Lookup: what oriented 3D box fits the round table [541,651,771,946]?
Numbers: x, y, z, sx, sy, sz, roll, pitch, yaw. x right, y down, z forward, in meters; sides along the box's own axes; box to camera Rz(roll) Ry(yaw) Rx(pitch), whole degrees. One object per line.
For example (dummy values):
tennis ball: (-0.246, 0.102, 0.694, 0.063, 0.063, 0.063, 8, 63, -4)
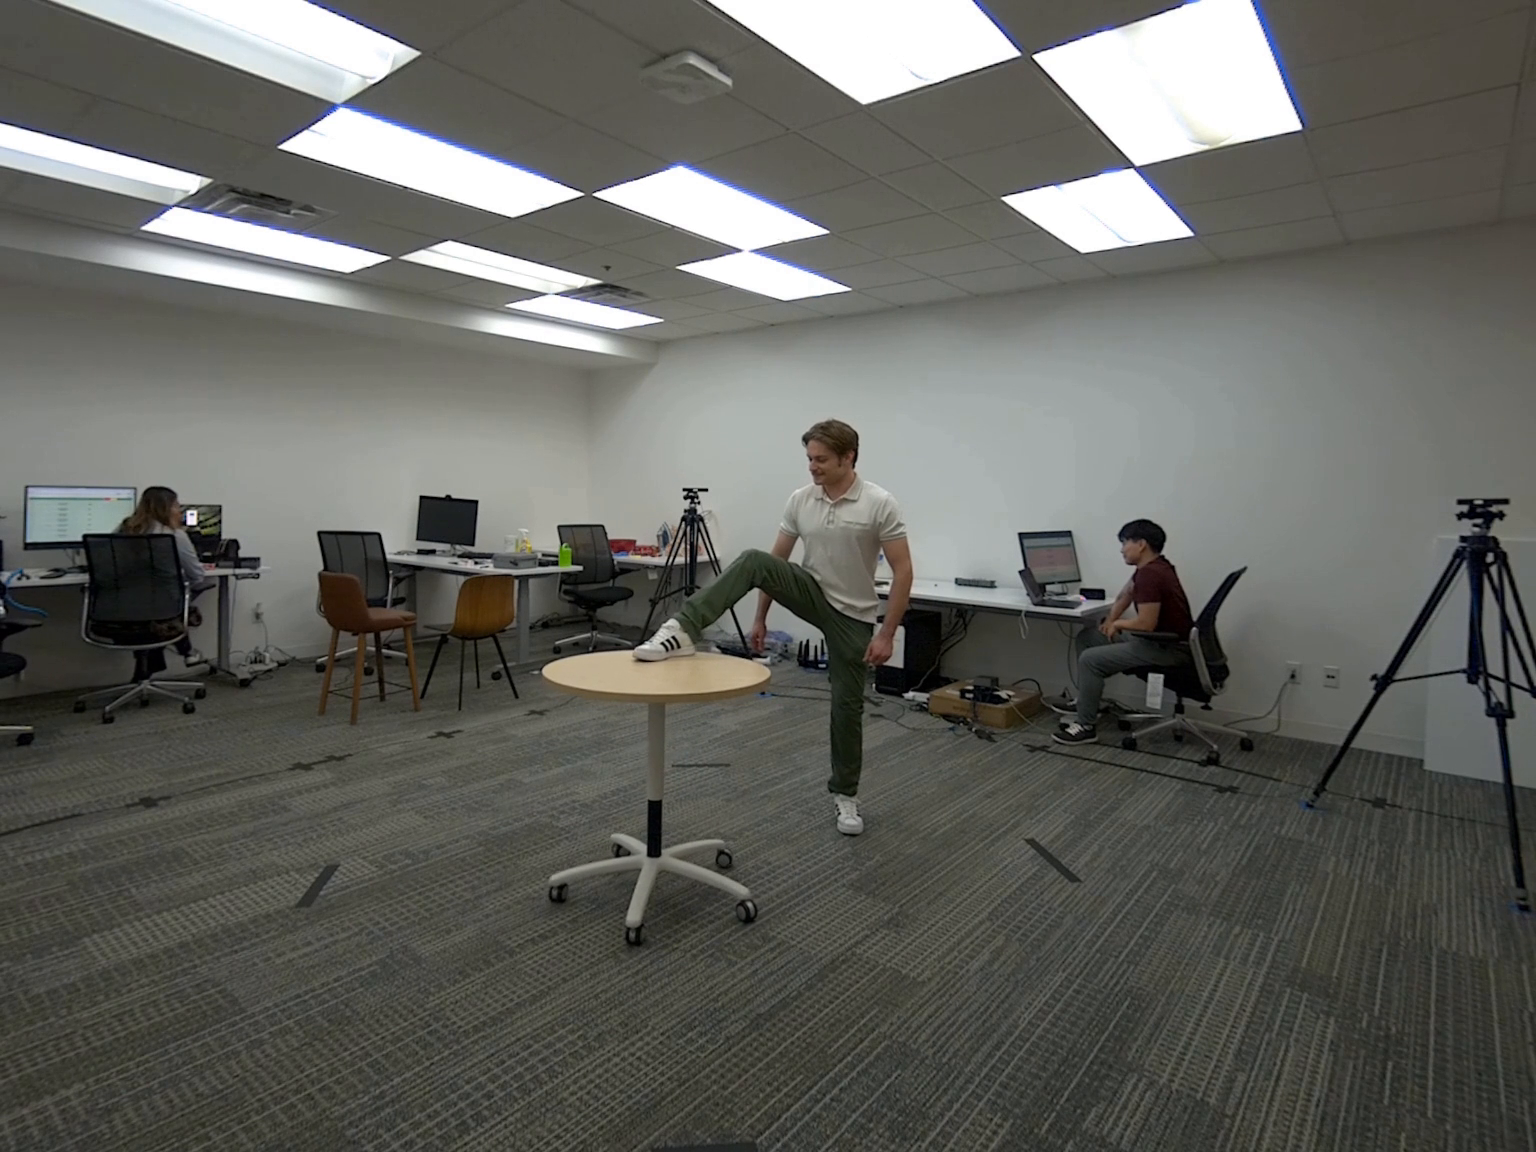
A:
round table: (-0.391, 0.702, 2.884, 0.763, 0.792, 0.767, 1, 3, -2)
